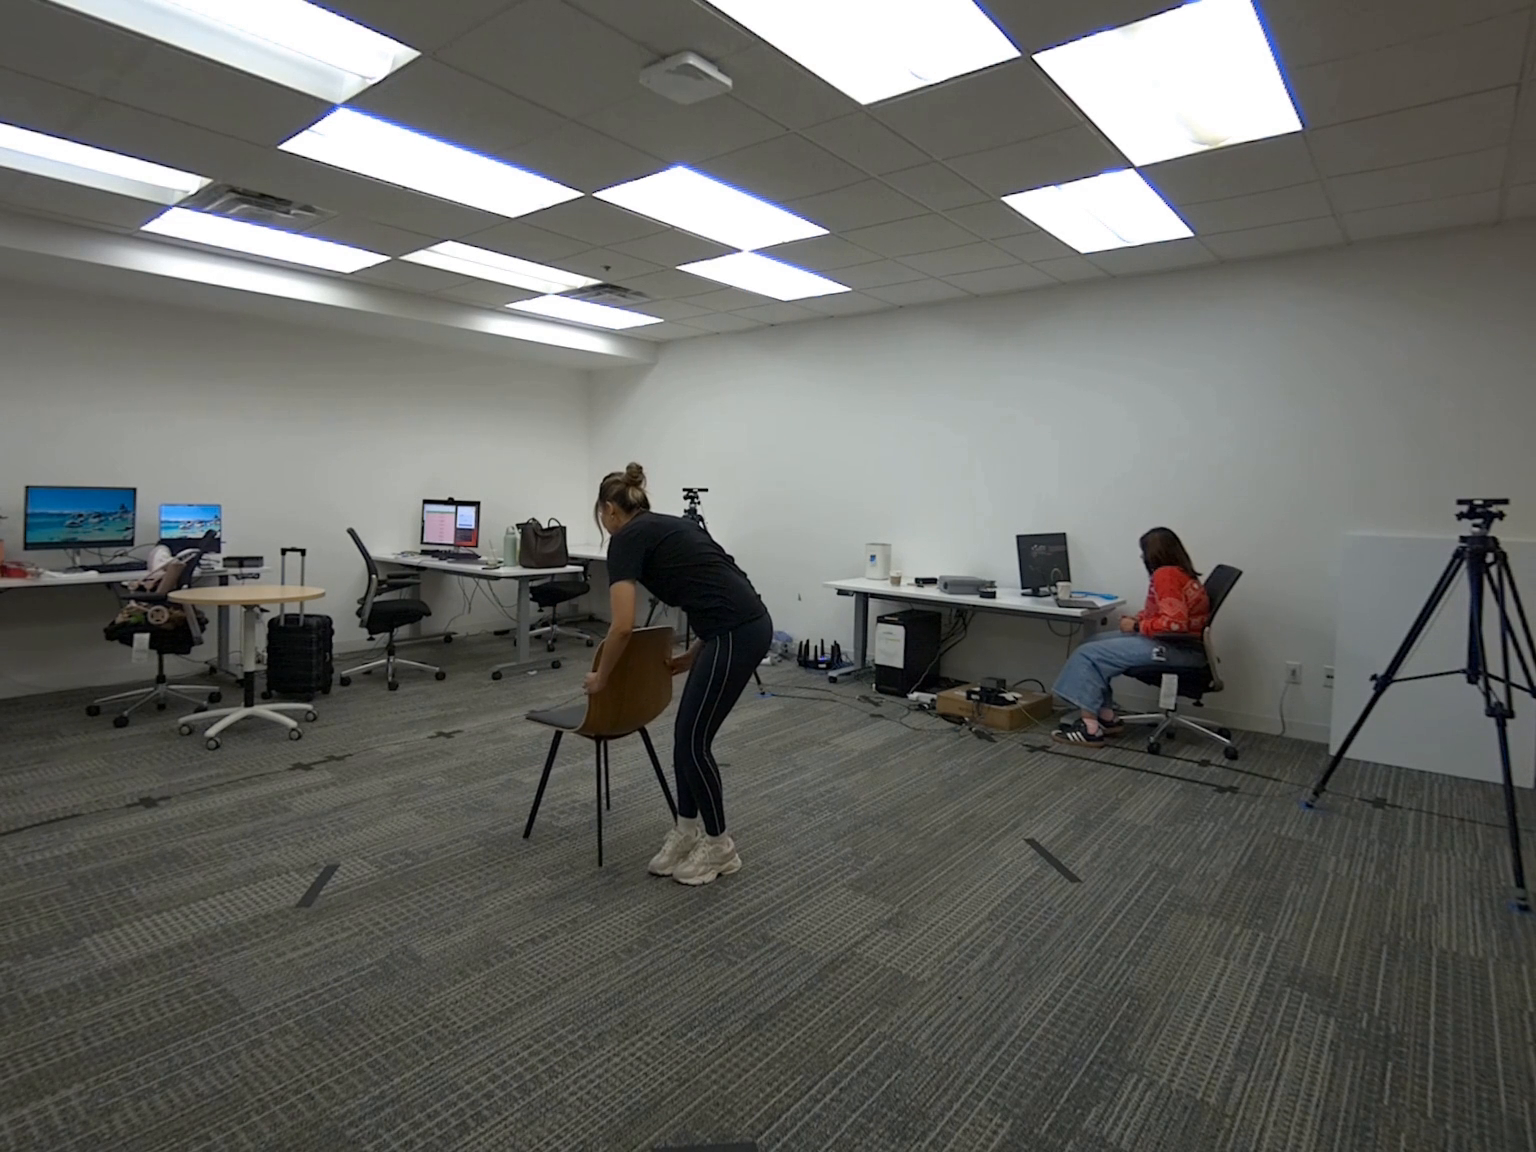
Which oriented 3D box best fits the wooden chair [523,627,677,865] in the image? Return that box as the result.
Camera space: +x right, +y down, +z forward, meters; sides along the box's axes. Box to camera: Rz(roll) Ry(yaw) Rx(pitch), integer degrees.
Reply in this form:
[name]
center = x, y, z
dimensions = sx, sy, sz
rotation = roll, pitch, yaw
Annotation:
[wooden chair]
center = -0.679, 0.596, 3.373
dimensions = 0.541, 0.874, 0.464
rotation = 6, 6, 39
